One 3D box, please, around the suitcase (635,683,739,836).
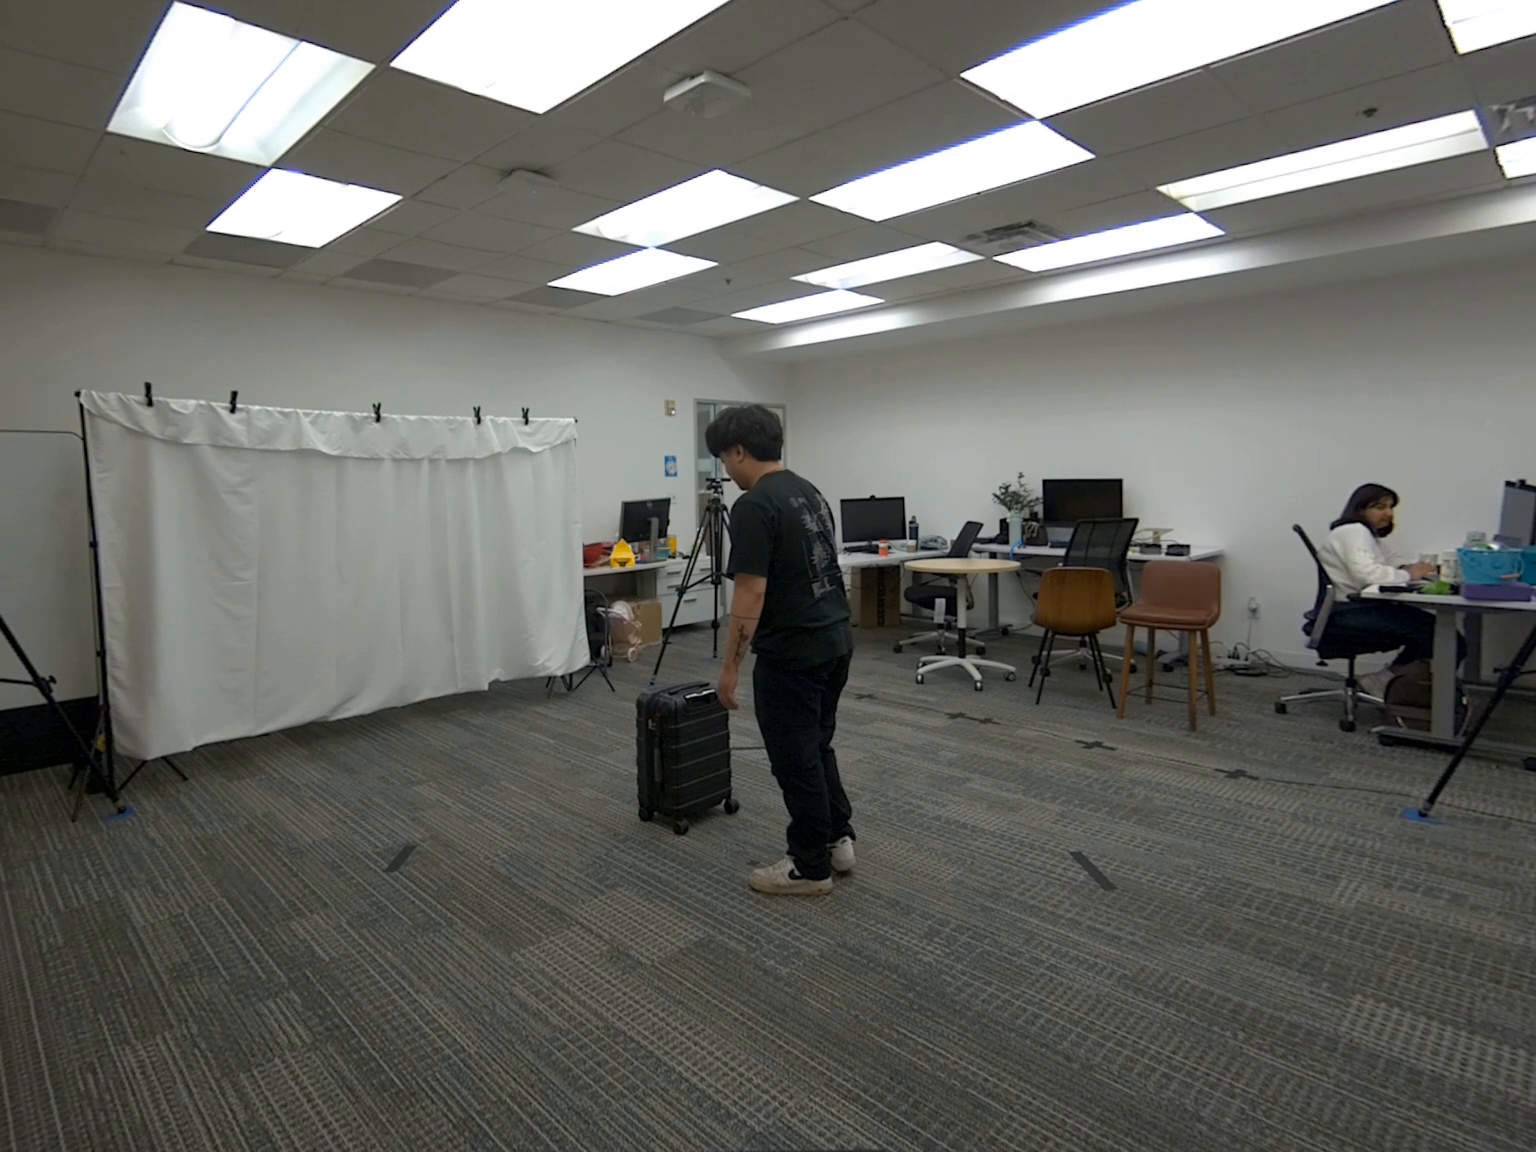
[{"bbox_3d":[-0.348,0.721,3.544,0.255,0.548,0.365,-1,4,44],"label":"suitcase"}]
